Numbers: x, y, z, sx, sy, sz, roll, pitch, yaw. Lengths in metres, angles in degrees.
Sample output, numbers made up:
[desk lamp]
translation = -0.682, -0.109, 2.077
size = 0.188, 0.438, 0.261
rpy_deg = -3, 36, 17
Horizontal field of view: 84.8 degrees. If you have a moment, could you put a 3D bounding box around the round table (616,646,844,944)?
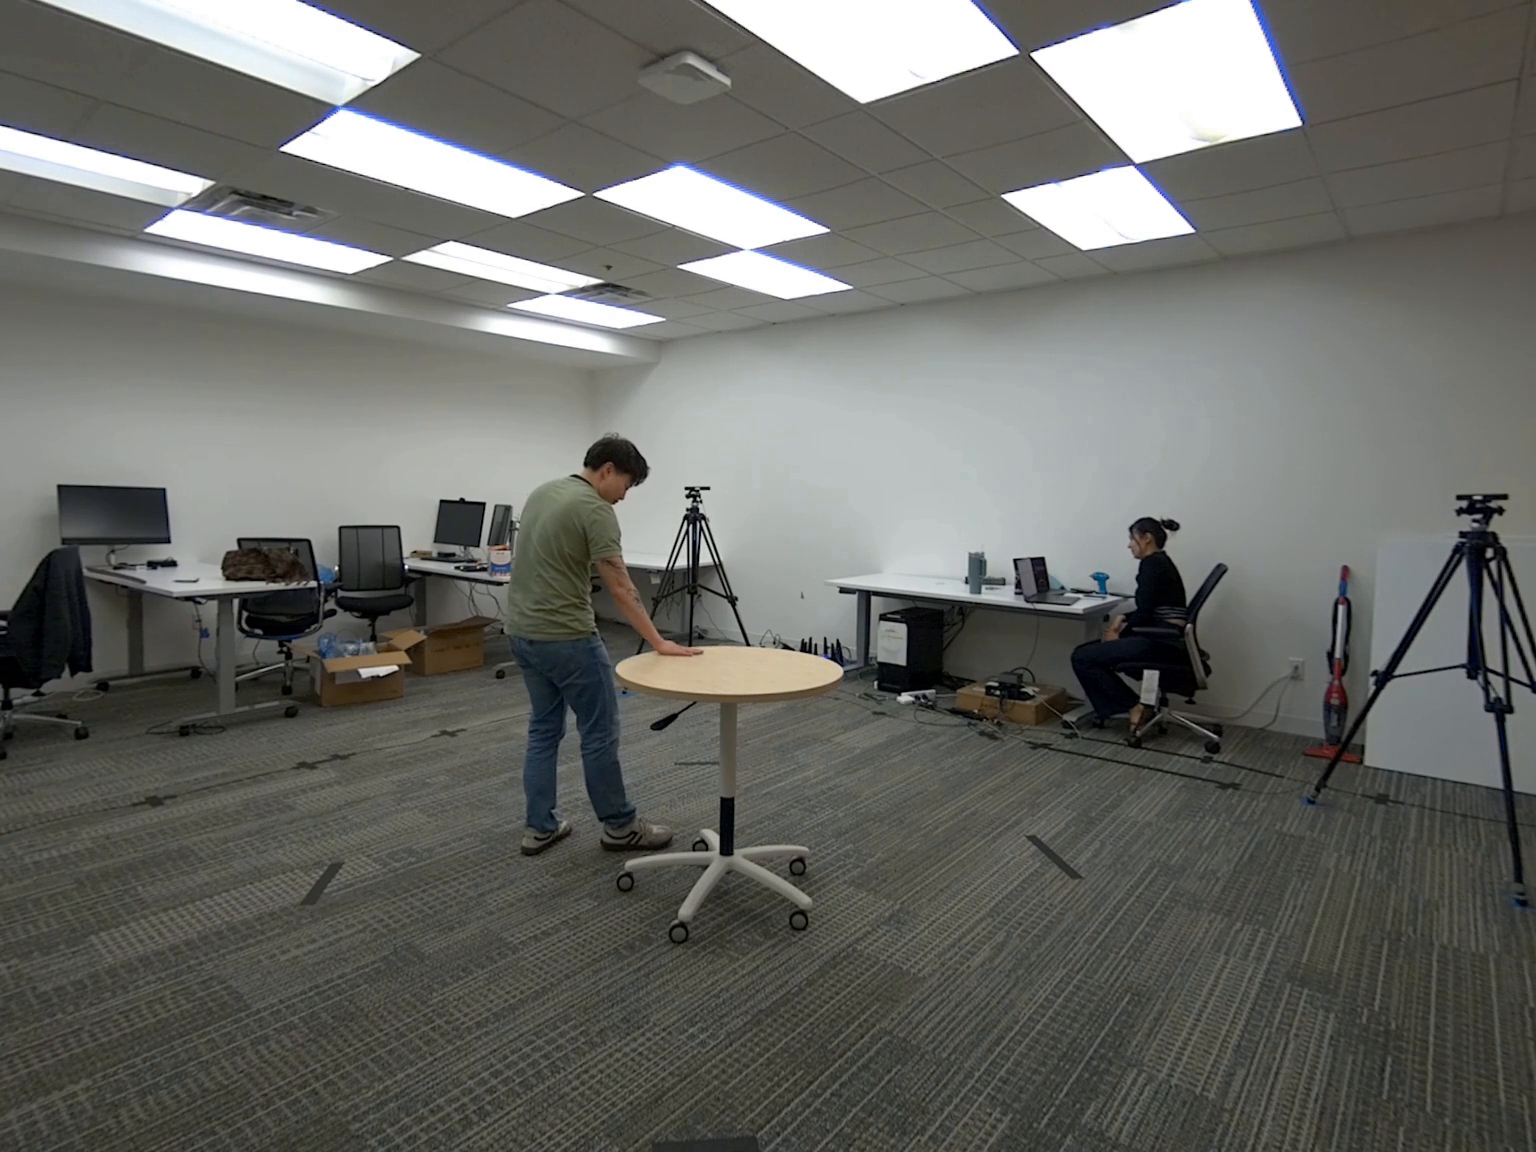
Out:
[round table]
translation = -0.145, 0.699, 2.892
size = 0.763, 0.791, 0.768
rpy_deg = 1, 4, -2
